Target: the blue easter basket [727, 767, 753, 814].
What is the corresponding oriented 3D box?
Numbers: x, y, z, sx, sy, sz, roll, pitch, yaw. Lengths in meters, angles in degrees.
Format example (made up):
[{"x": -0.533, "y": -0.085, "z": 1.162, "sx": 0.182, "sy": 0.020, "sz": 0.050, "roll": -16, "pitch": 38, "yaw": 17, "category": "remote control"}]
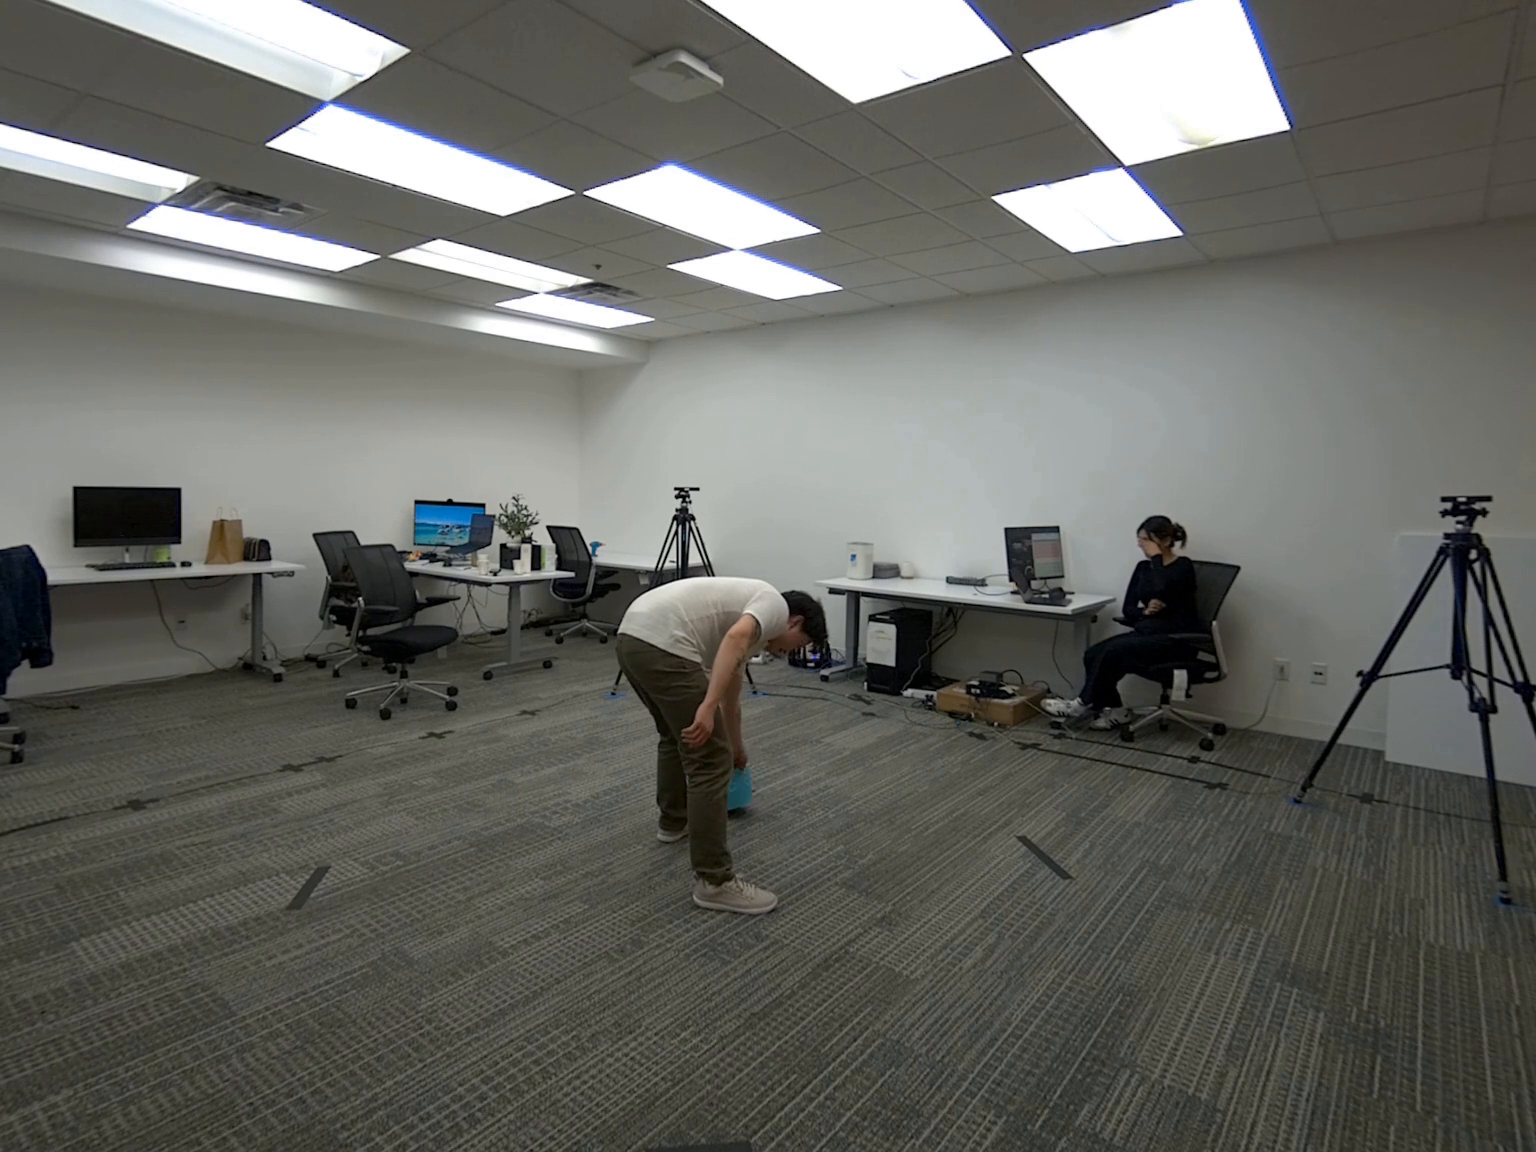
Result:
[{"x": -0.185, "y": 0.907, "z": 3.659, "sx": 0.243, "sy": 0.157, "sz": 0.242, "roll": -14, "pitch": -6, "yaw": -4, "category": "blue easter basket"}]
